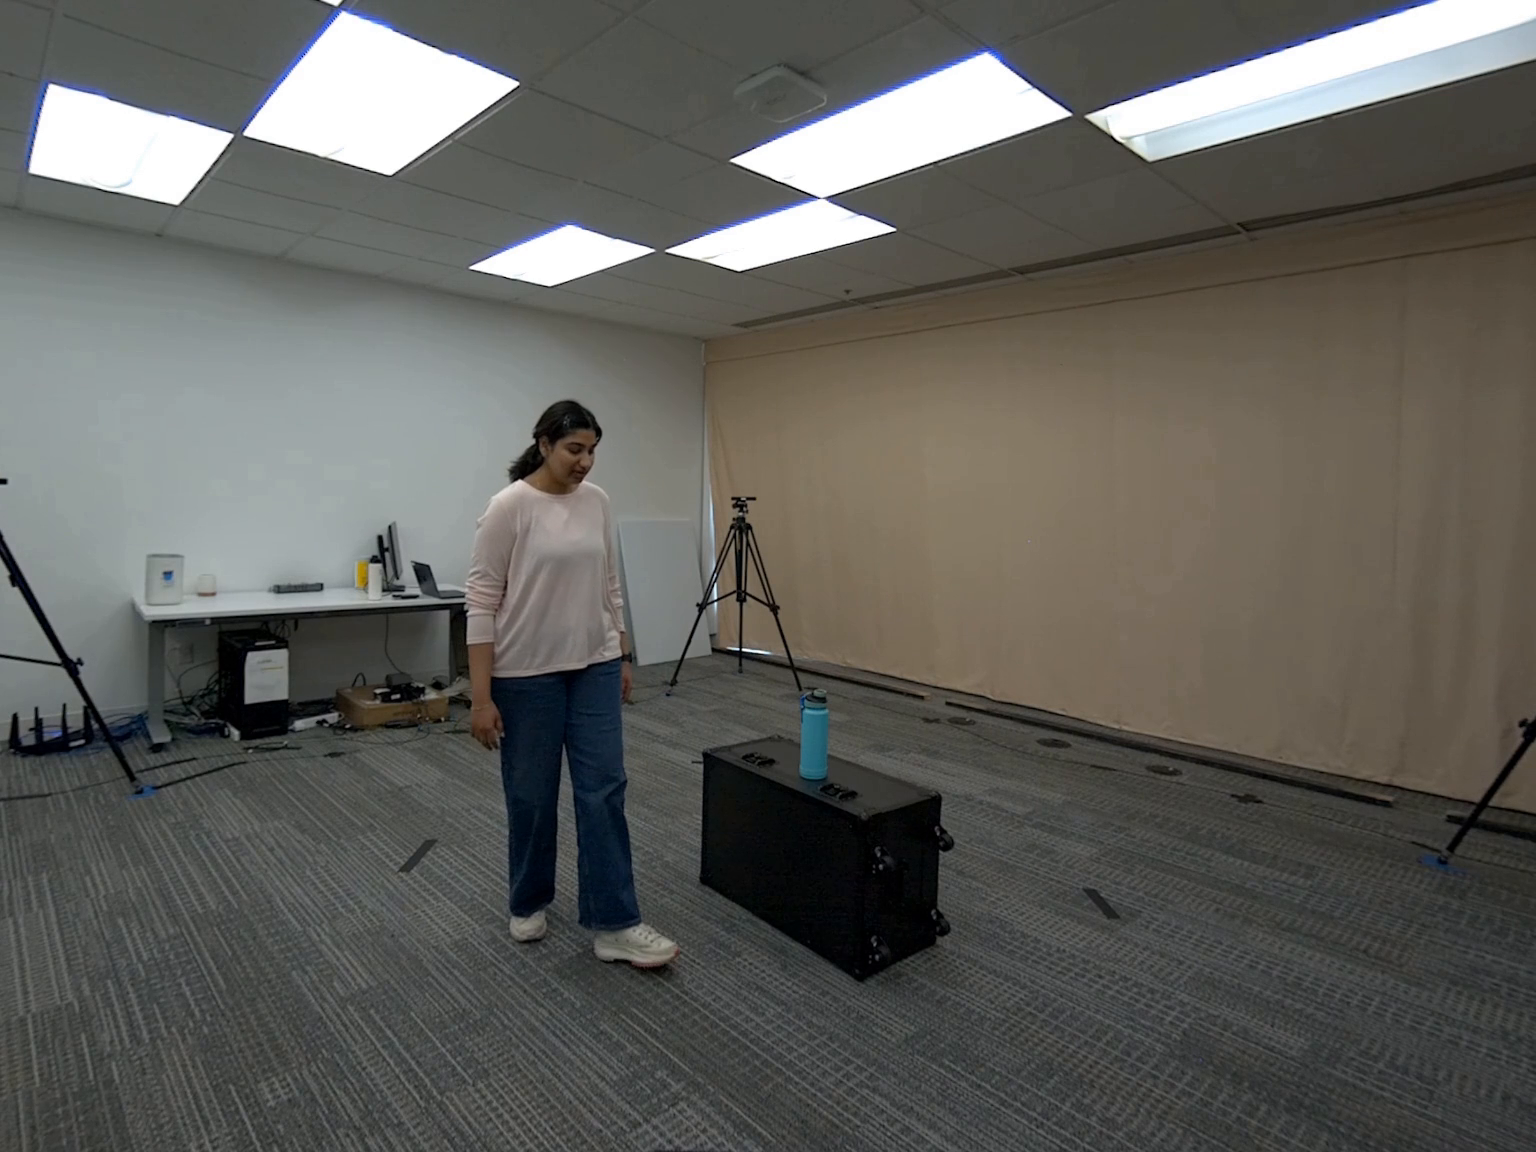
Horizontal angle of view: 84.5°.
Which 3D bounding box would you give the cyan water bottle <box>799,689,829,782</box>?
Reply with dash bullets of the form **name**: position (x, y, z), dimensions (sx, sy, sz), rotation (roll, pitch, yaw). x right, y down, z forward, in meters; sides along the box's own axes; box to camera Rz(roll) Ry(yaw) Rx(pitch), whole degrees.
- **cyan water bottle**: position (0.147, 0.523, 2.776), dimensions (0.092, 0.283, 0.092), rotation (0, 3, -1)
